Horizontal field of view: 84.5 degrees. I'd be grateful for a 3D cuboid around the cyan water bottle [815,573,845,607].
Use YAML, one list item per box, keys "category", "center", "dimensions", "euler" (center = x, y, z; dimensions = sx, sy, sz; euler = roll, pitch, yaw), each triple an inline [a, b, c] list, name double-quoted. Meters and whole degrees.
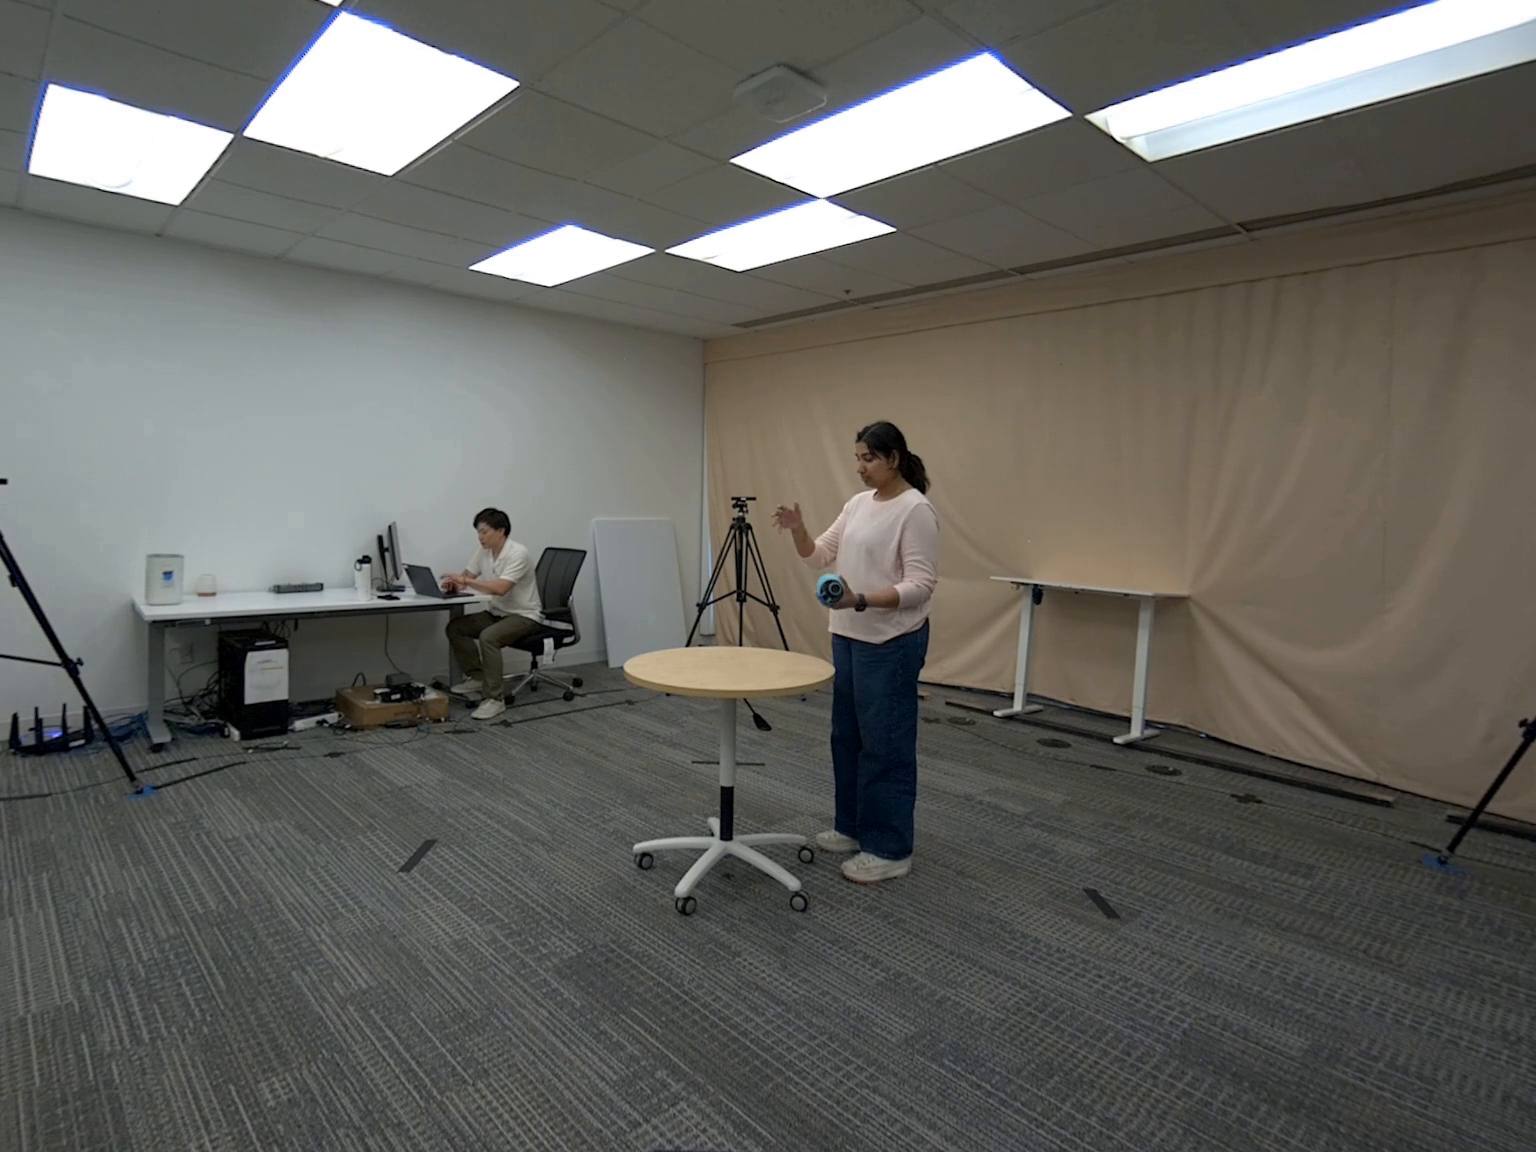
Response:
- category: "cyan water bottle"
  center: [0.207, 0.031, 2.868]
  dimensions: [0.093, 0.092, 0.282]
  euler: [2, 3, 4]
